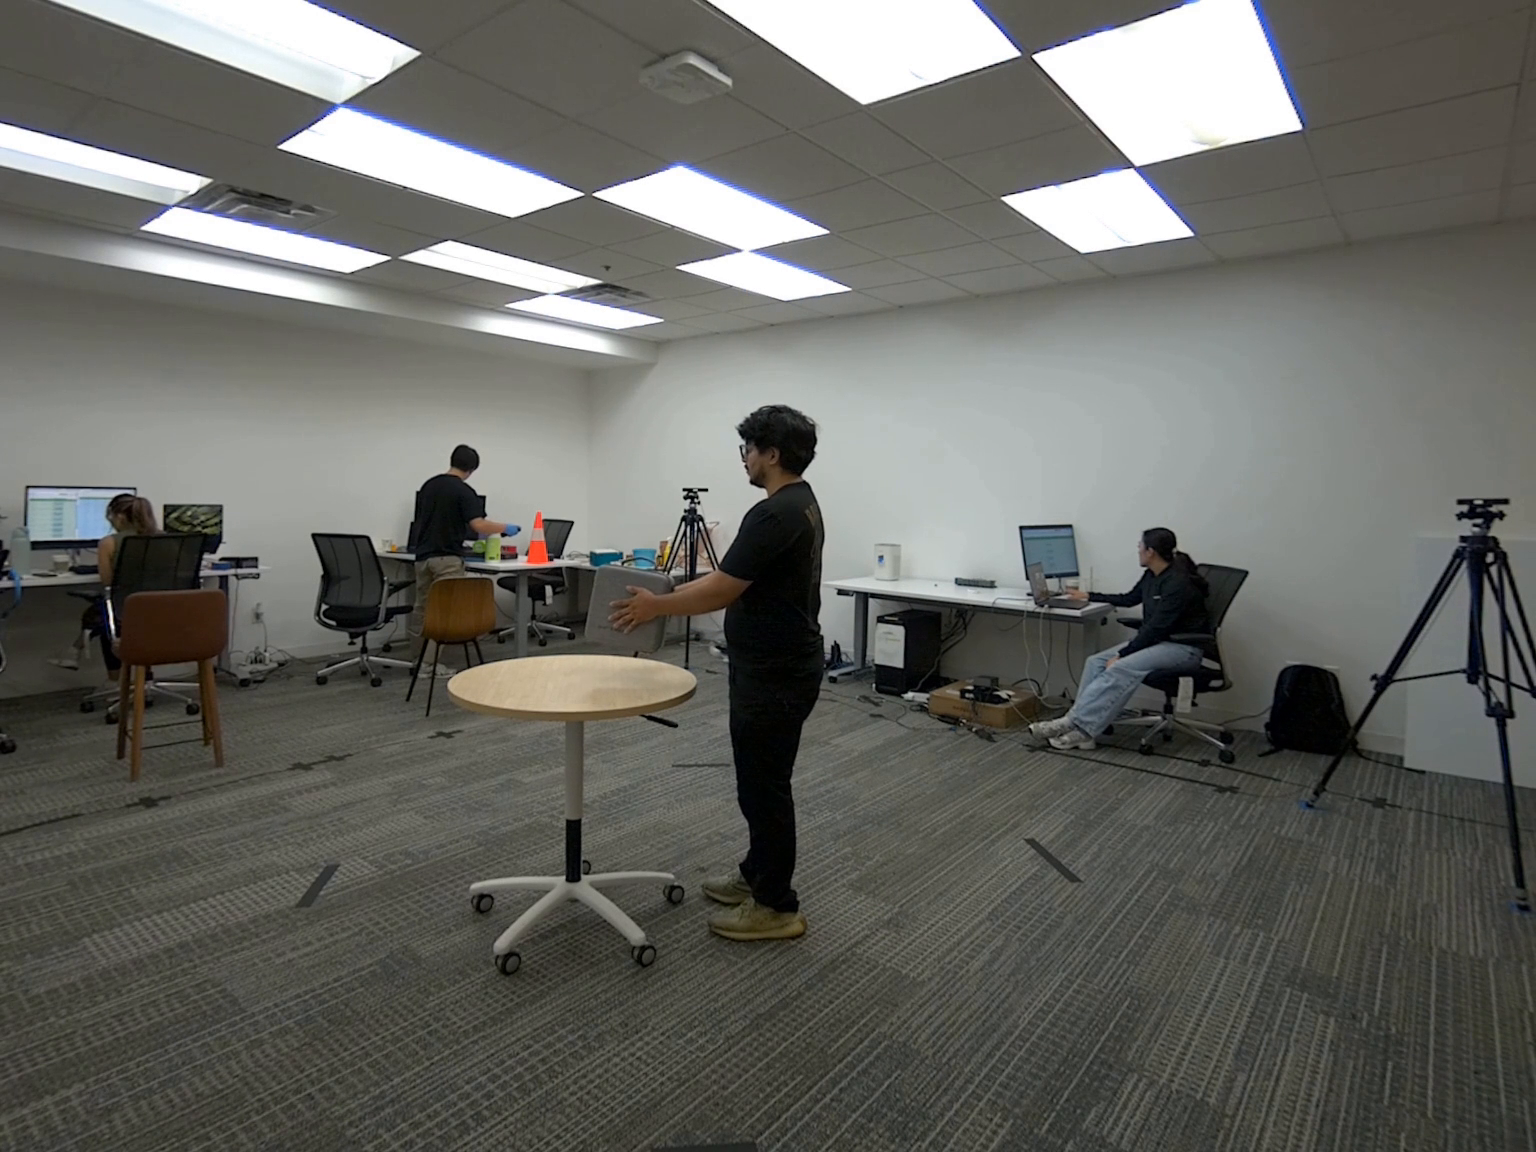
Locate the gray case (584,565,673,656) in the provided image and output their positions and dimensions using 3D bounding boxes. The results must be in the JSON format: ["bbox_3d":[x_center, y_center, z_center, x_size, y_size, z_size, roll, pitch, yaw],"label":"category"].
[{"bbox_3d":[-0.455,0.098,2.752,0.261,0.261,0.102,9,-4,13],"label":"gray case"}]
